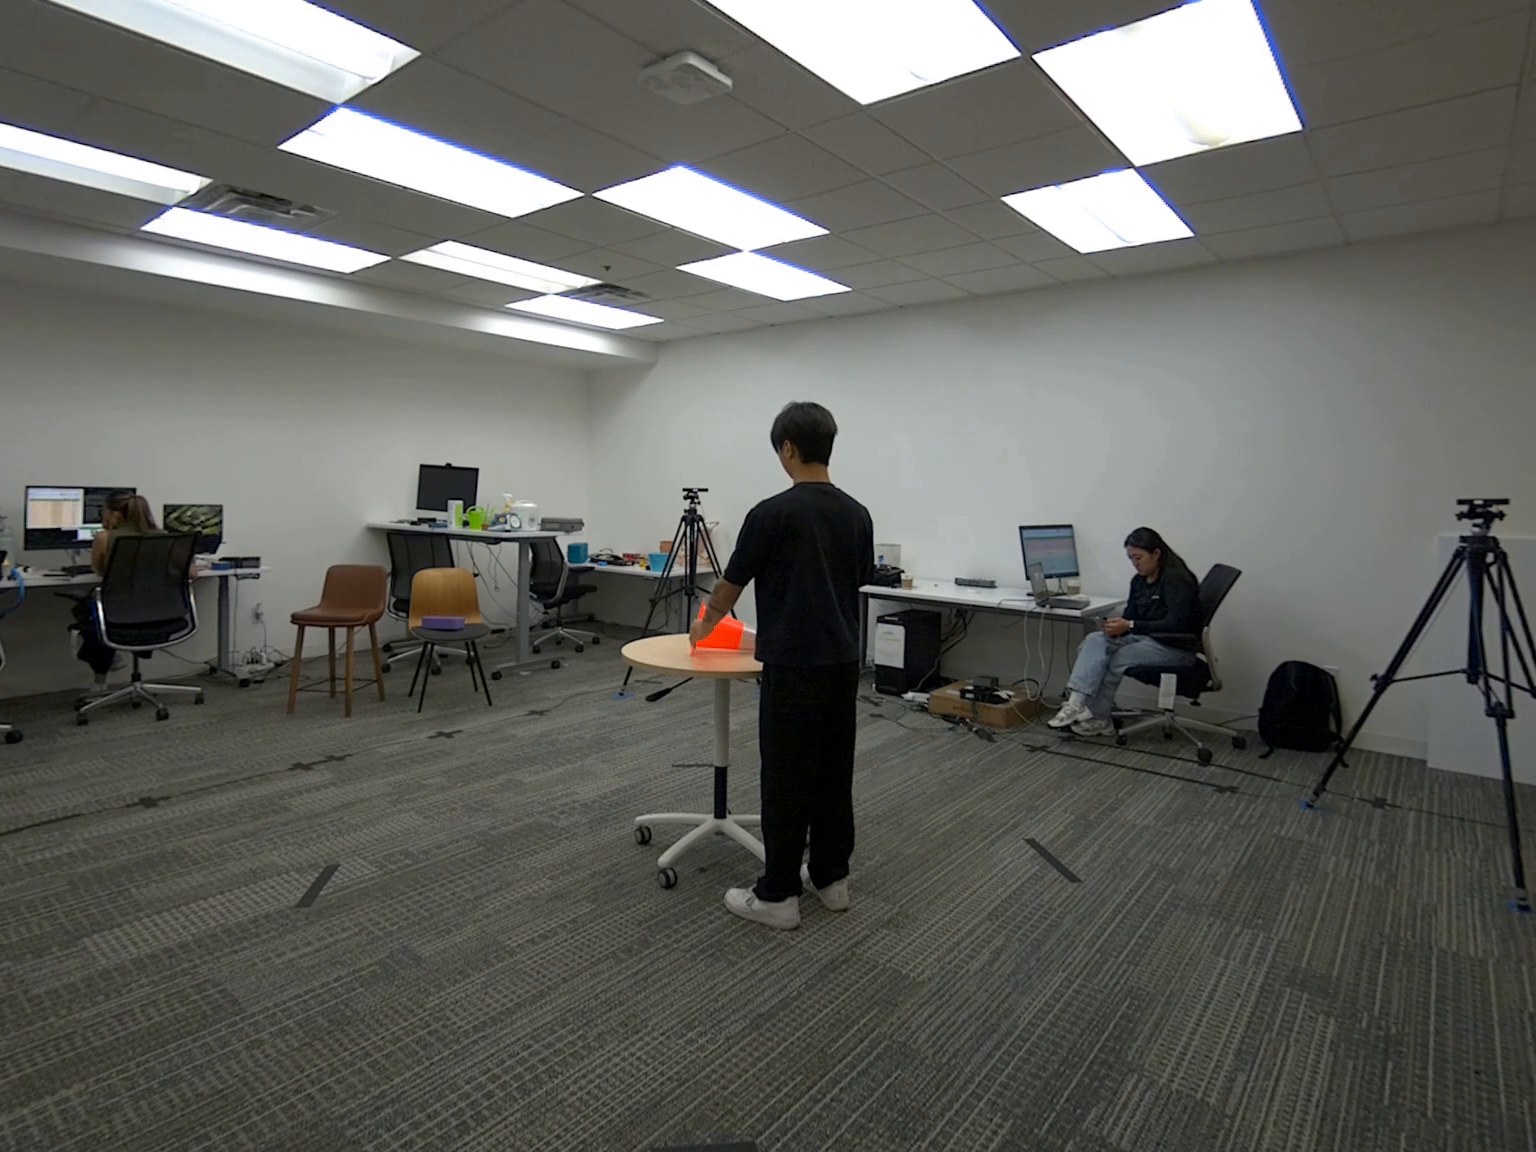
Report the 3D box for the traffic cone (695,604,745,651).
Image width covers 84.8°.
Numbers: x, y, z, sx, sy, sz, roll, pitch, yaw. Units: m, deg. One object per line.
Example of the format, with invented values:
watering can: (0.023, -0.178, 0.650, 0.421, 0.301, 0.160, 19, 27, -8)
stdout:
traffic cone: (-0.080, 0.225, 3.192, 0.378, 0.205, 0.206, 12, 2, -12)
